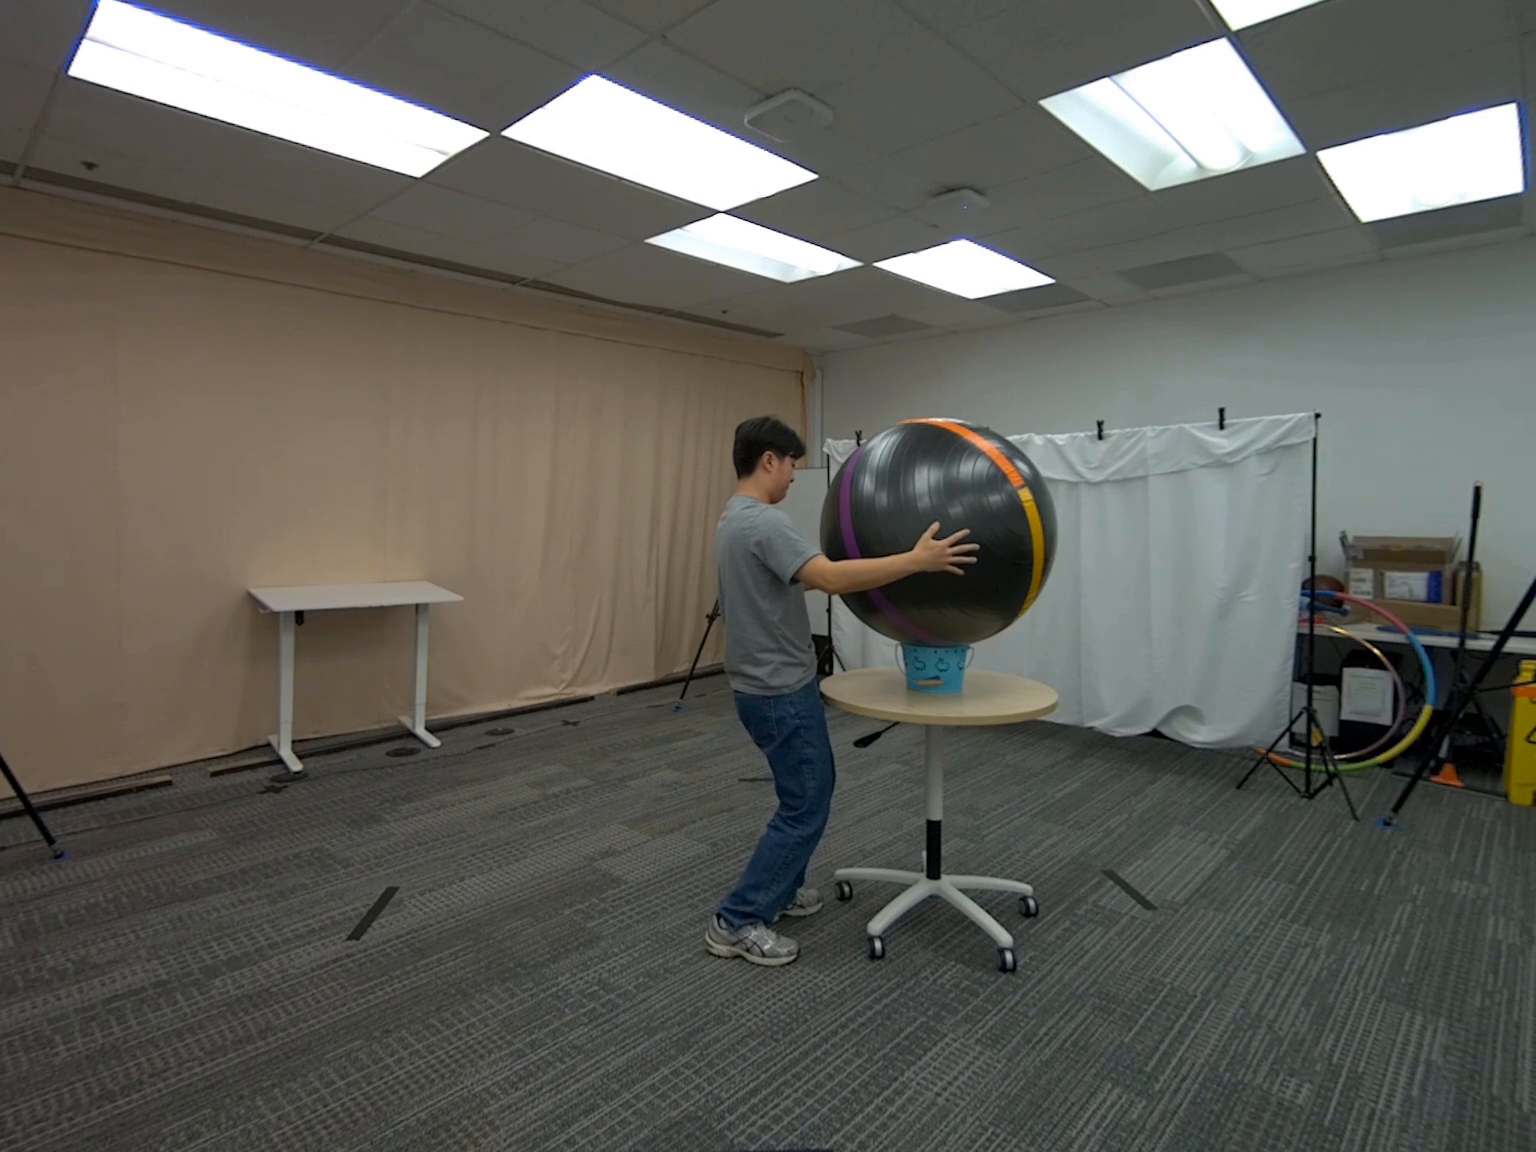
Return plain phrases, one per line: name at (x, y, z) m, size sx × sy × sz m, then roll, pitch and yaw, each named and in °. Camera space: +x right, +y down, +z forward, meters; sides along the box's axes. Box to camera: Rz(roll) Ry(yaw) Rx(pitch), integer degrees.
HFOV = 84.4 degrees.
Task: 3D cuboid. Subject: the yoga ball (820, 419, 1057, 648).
yoga ball at (0.566, -0.139, 2.791) m, size 0.757 × 0.756 × 0.760 m, roll 0°, pitch 4°, yaw -2°
